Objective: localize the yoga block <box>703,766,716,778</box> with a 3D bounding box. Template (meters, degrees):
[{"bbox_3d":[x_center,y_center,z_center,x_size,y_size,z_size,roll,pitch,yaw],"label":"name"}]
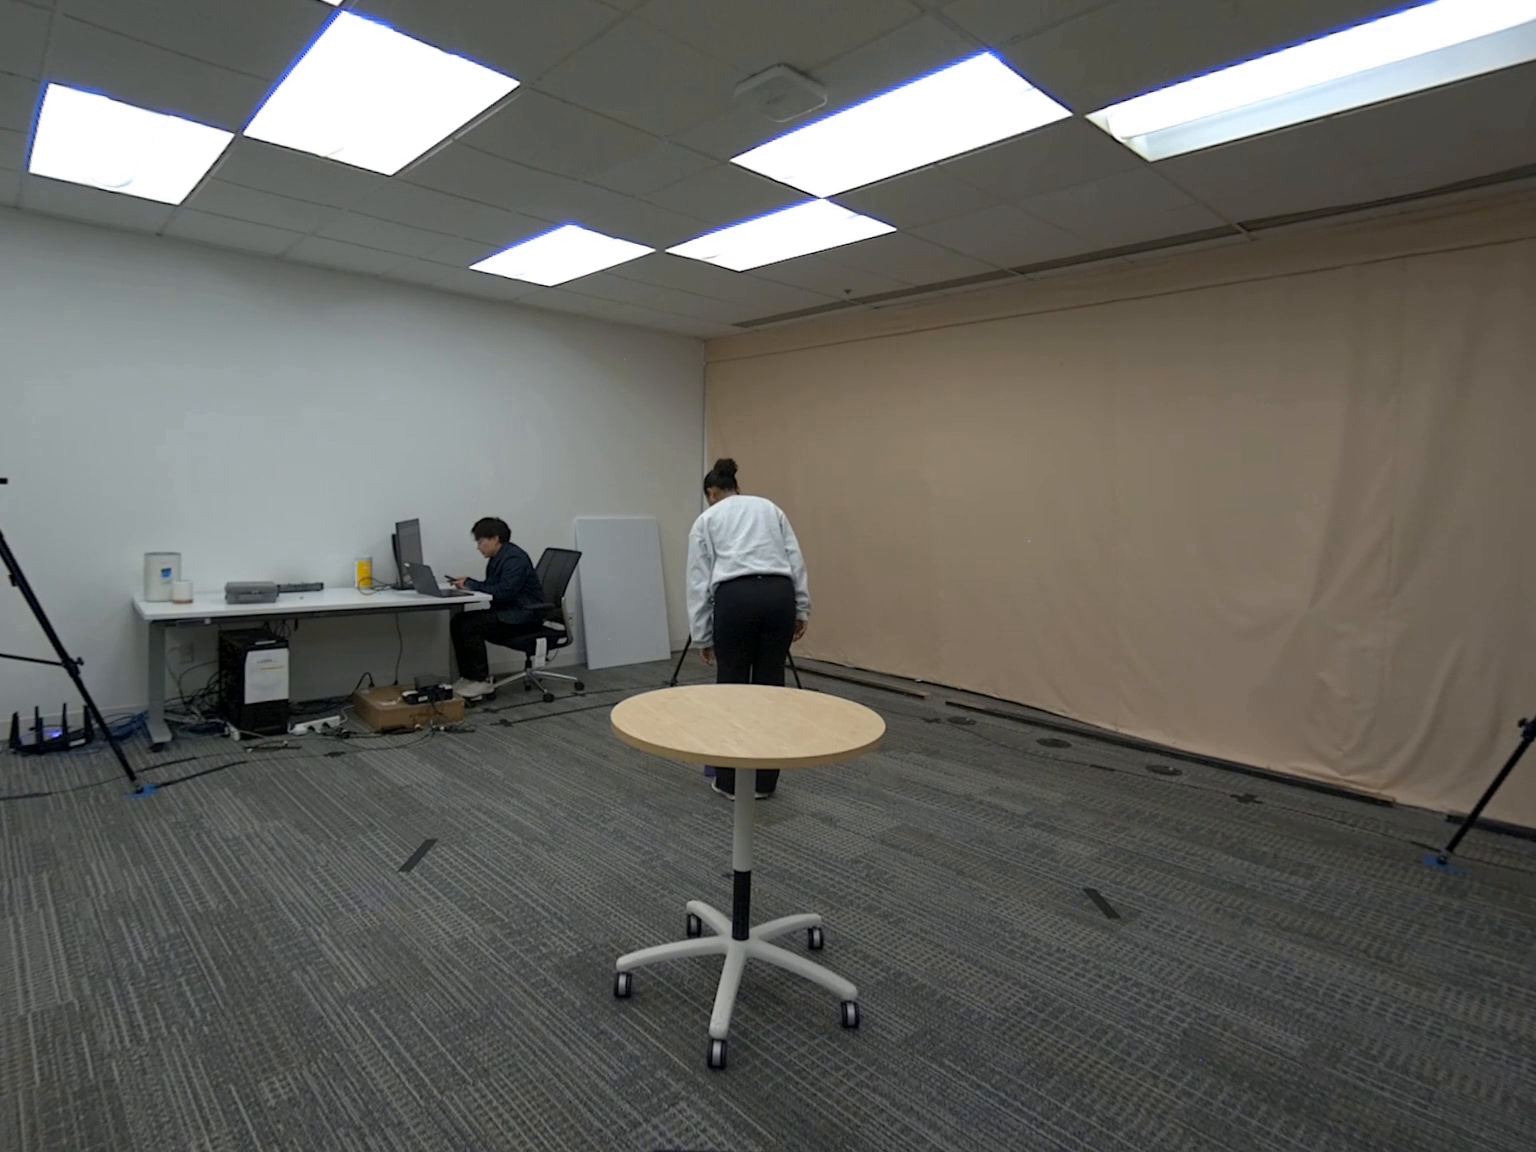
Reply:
[{"bbox_3d":[-0.218,0.931,4.258,0.228,0.148,0.077,1,3,-5],"label":"yoga block"}]
